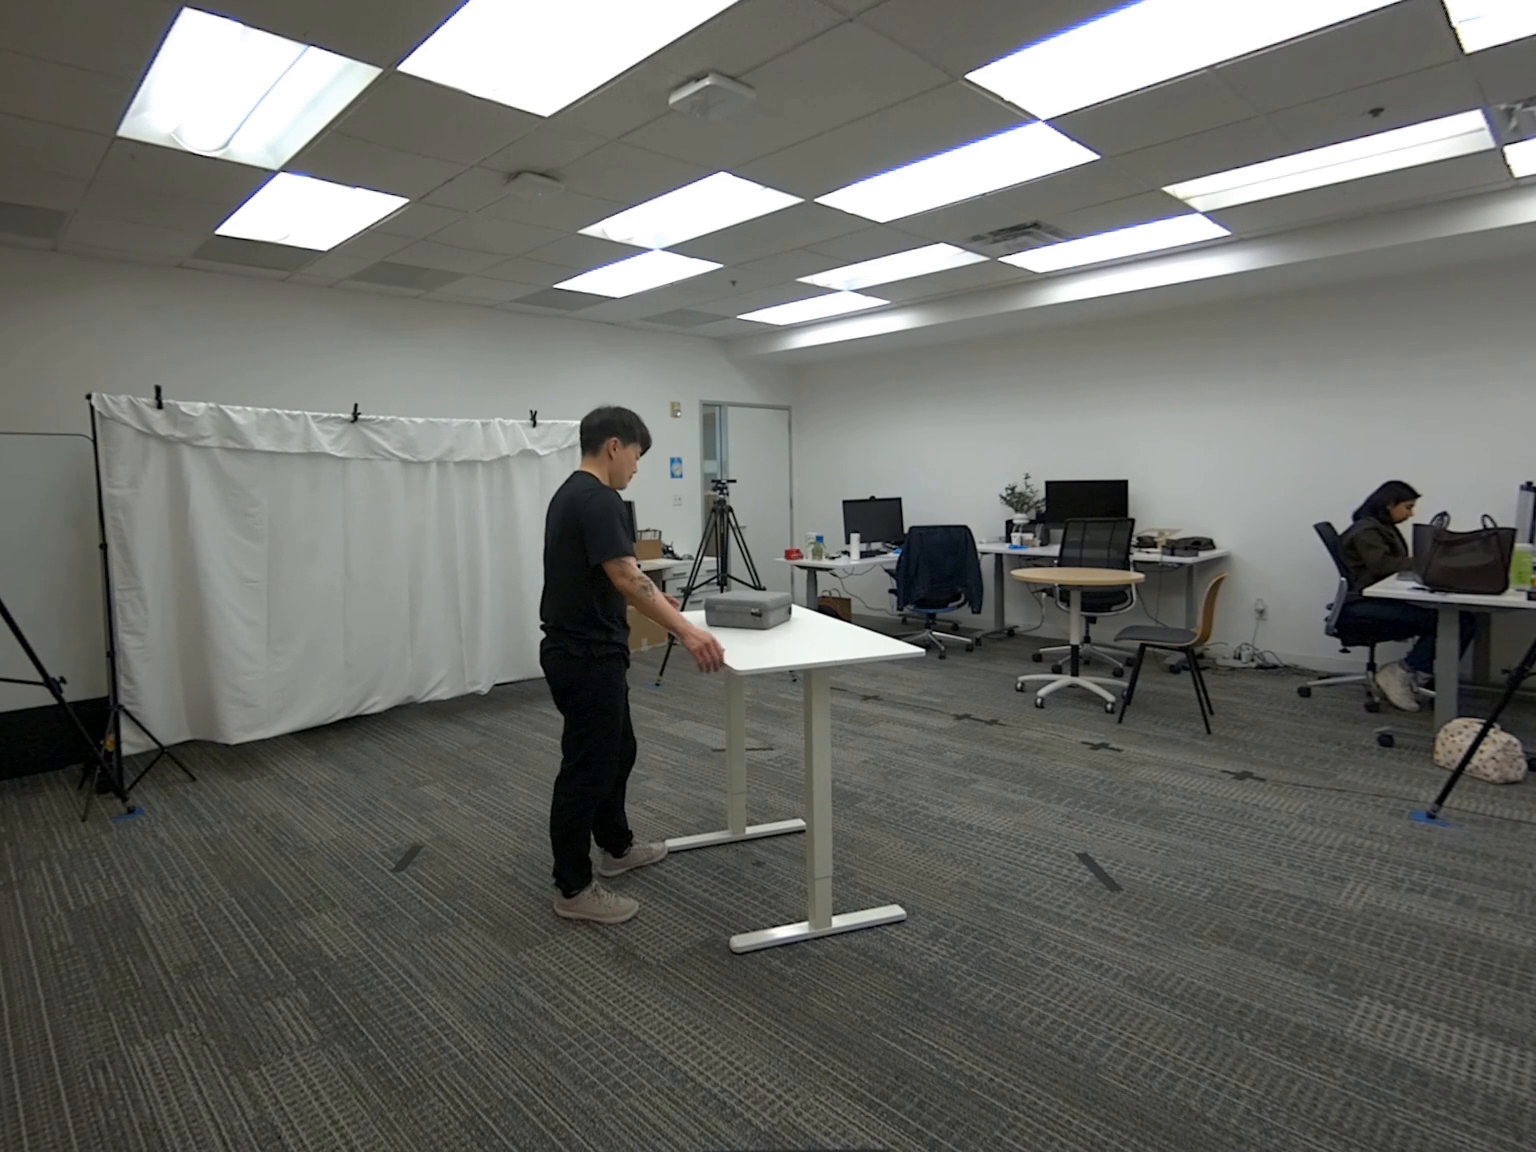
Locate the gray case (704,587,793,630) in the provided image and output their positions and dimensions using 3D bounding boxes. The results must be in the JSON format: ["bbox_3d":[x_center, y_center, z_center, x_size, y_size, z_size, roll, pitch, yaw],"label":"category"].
[{"bbox_3d":[-0.064,0.116,3.069,0.263,0.104,0.256,1,6,26],"label":"gray case"}]
